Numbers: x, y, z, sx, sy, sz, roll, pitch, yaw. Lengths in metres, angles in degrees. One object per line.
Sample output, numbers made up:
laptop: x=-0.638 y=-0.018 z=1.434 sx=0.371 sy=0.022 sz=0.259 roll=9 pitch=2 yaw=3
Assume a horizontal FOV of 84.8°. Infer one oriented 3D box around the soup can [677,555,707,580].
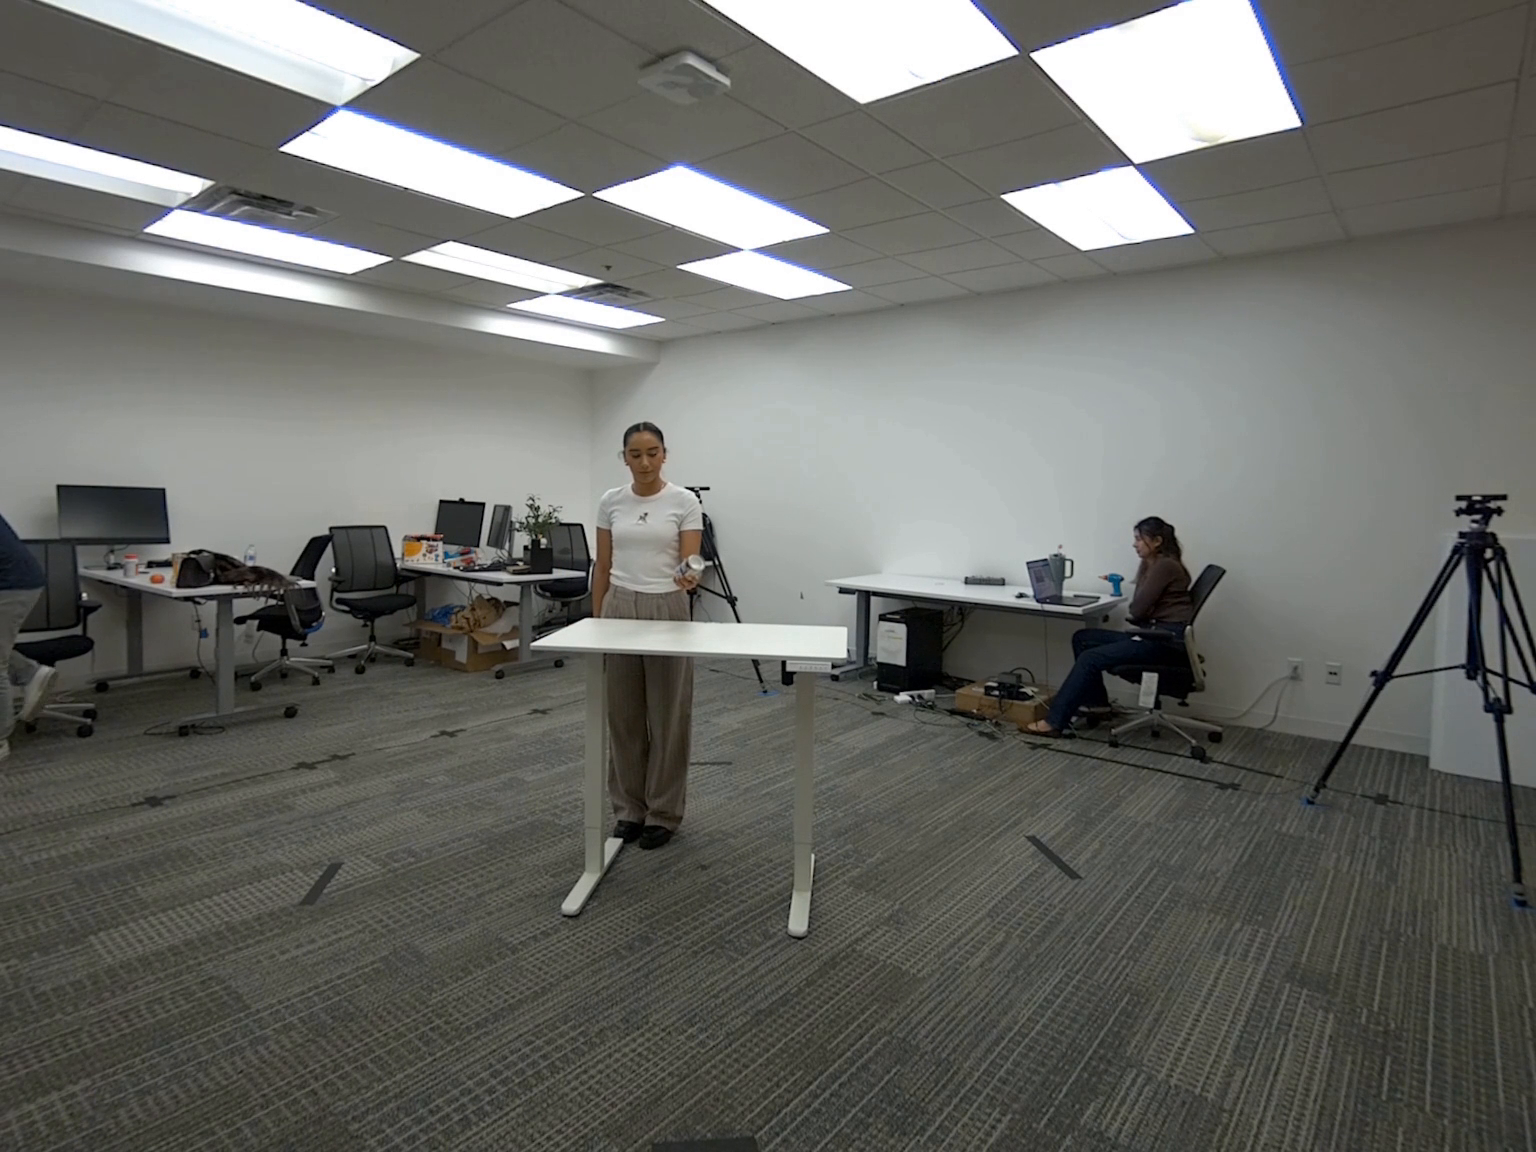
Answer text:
soup can: x=-0.287 y=-0.029 z=2.944 sx=0.065 sy=0.069 sz=0.122 roll=-1 pitch=-22 yaw=-29
